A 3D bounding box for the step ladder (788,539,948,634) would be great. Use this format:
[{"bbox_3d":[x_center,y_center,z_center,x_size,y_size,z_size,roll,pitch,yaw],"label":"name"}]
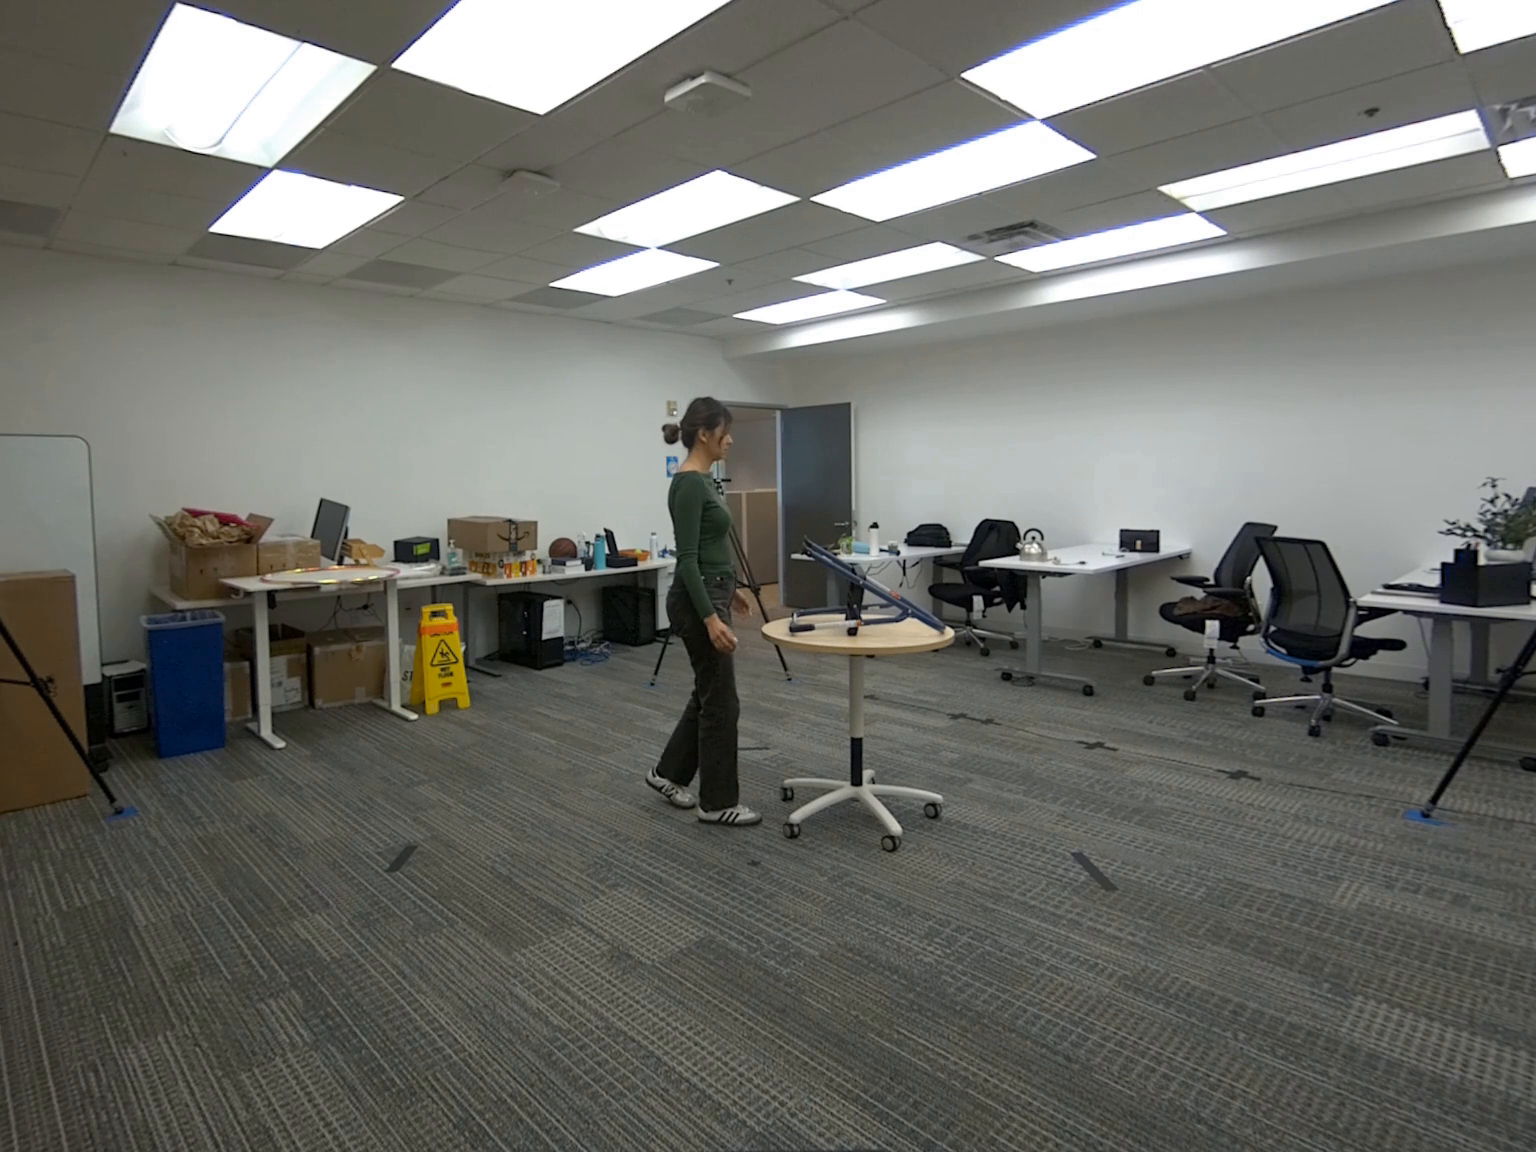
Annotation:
[{"bbox_3d":[0.413,0.082,3.450,0.610,0.348,0.430,10,7,4],"label":"step ladder"}]
